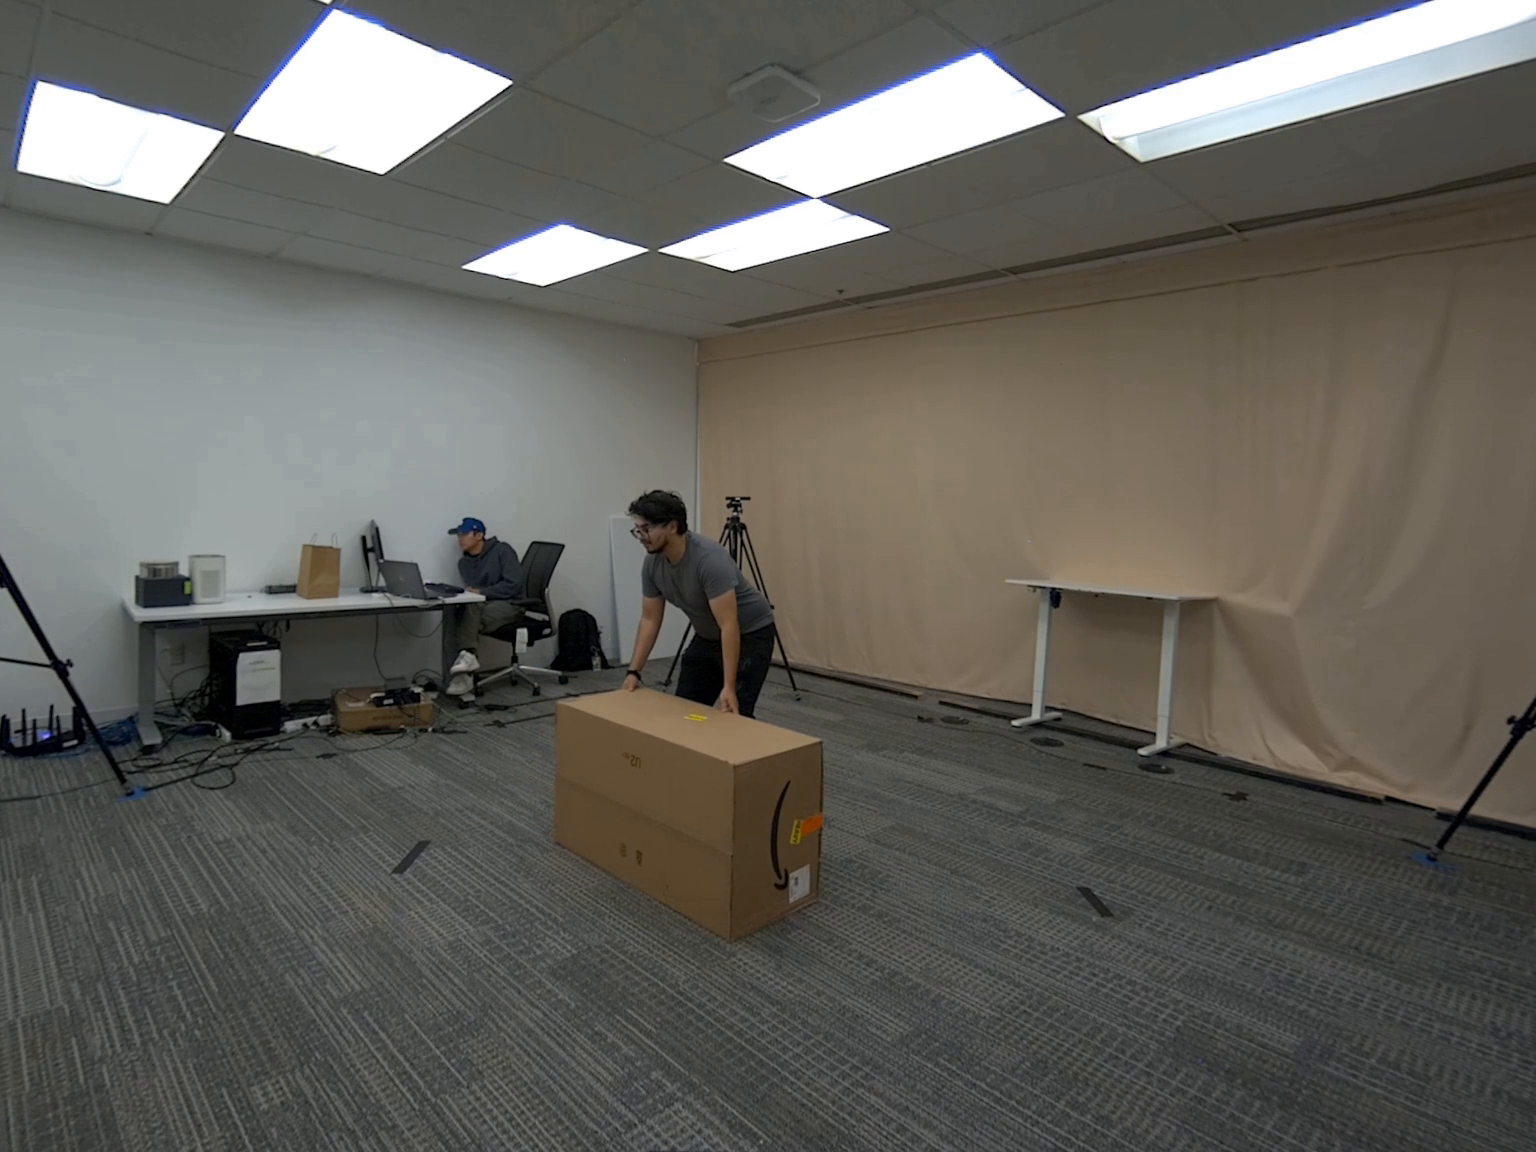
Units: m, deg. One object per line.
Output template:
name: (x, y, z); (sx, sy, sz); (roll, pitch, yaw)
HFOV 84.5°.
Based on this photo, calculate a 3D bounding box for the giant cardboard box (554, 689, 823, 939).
giant cardboard box: (-0.336, 0.815, 3.121); (0.416, 0.576, 1.052); (-3, 6, -45)
